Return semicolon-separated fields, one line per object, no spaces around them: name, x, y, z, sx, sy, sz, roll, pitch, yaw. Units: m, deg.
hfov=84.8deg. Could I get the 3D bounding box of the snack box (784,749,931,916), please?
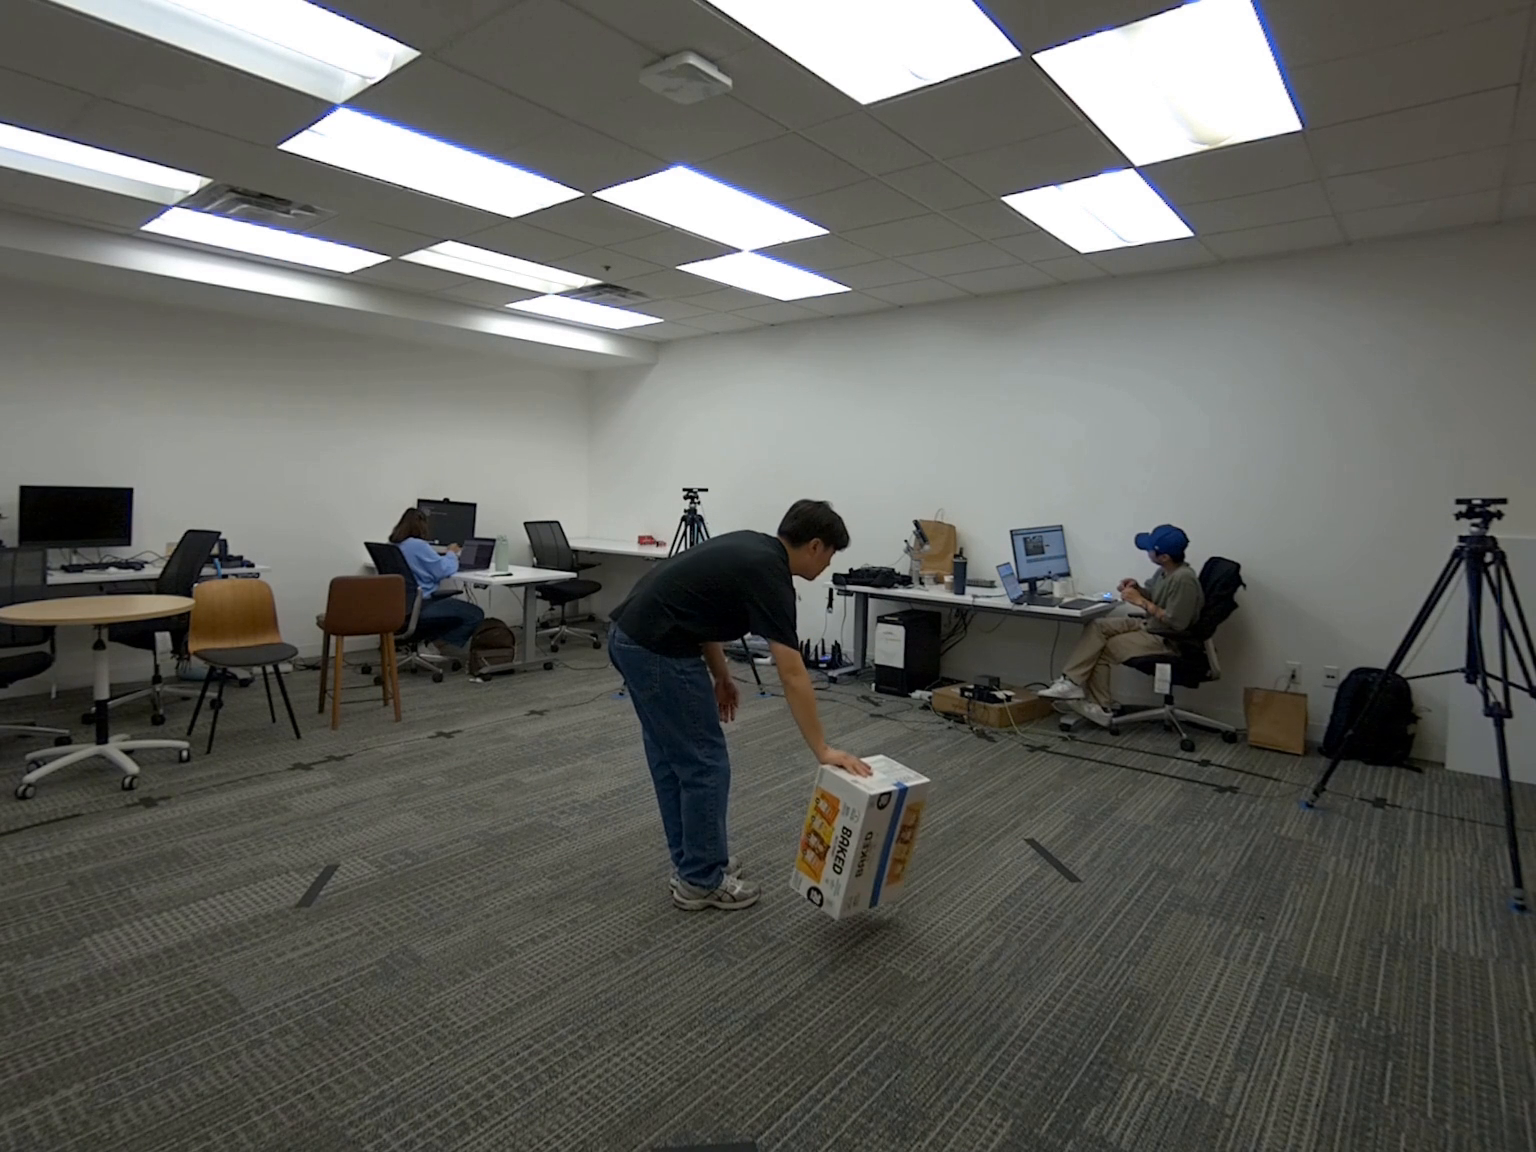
snack box;0.286;0.800;2.683;0.329;0.403;0.214;5;10;-43
